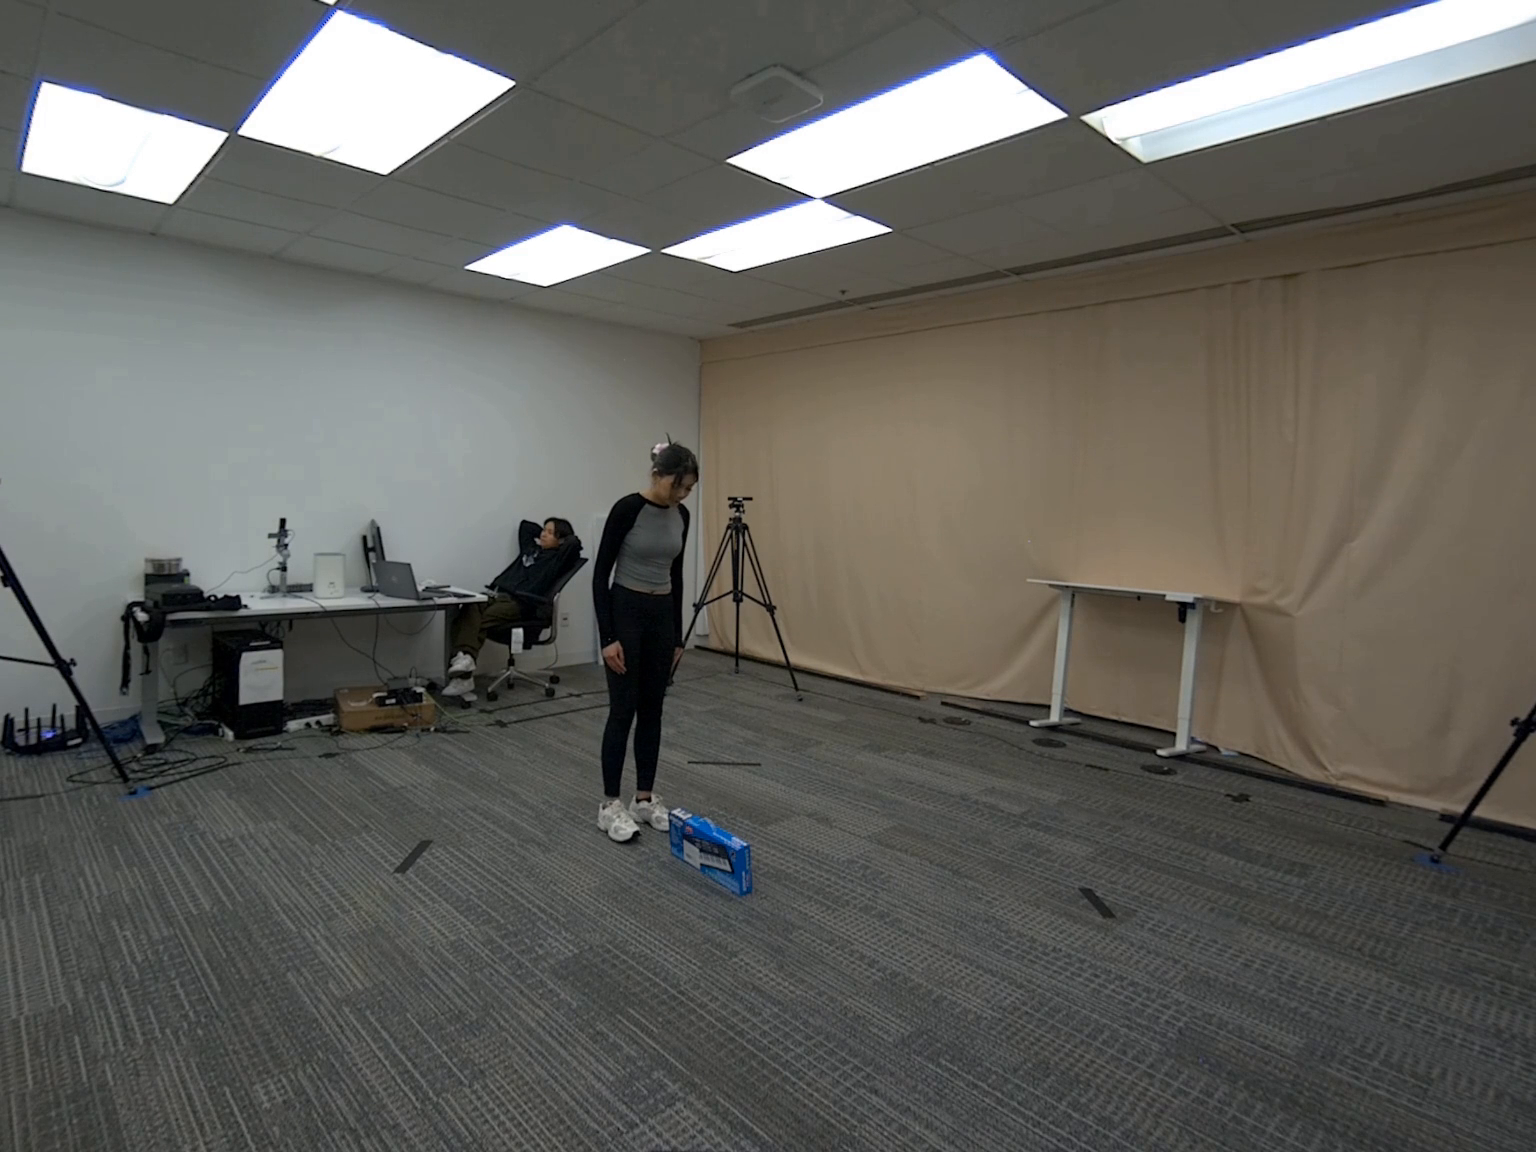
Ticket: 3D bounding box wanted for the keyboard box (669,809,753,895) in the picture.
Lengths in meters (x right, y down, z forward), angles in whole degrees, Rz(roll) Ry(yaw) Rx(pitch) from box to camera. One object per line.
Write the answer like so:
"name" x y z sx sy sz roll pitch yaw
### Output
"keyboard box" -0.228 1.018 3.124 0.058 0.175 0.448 -9 10 -38
